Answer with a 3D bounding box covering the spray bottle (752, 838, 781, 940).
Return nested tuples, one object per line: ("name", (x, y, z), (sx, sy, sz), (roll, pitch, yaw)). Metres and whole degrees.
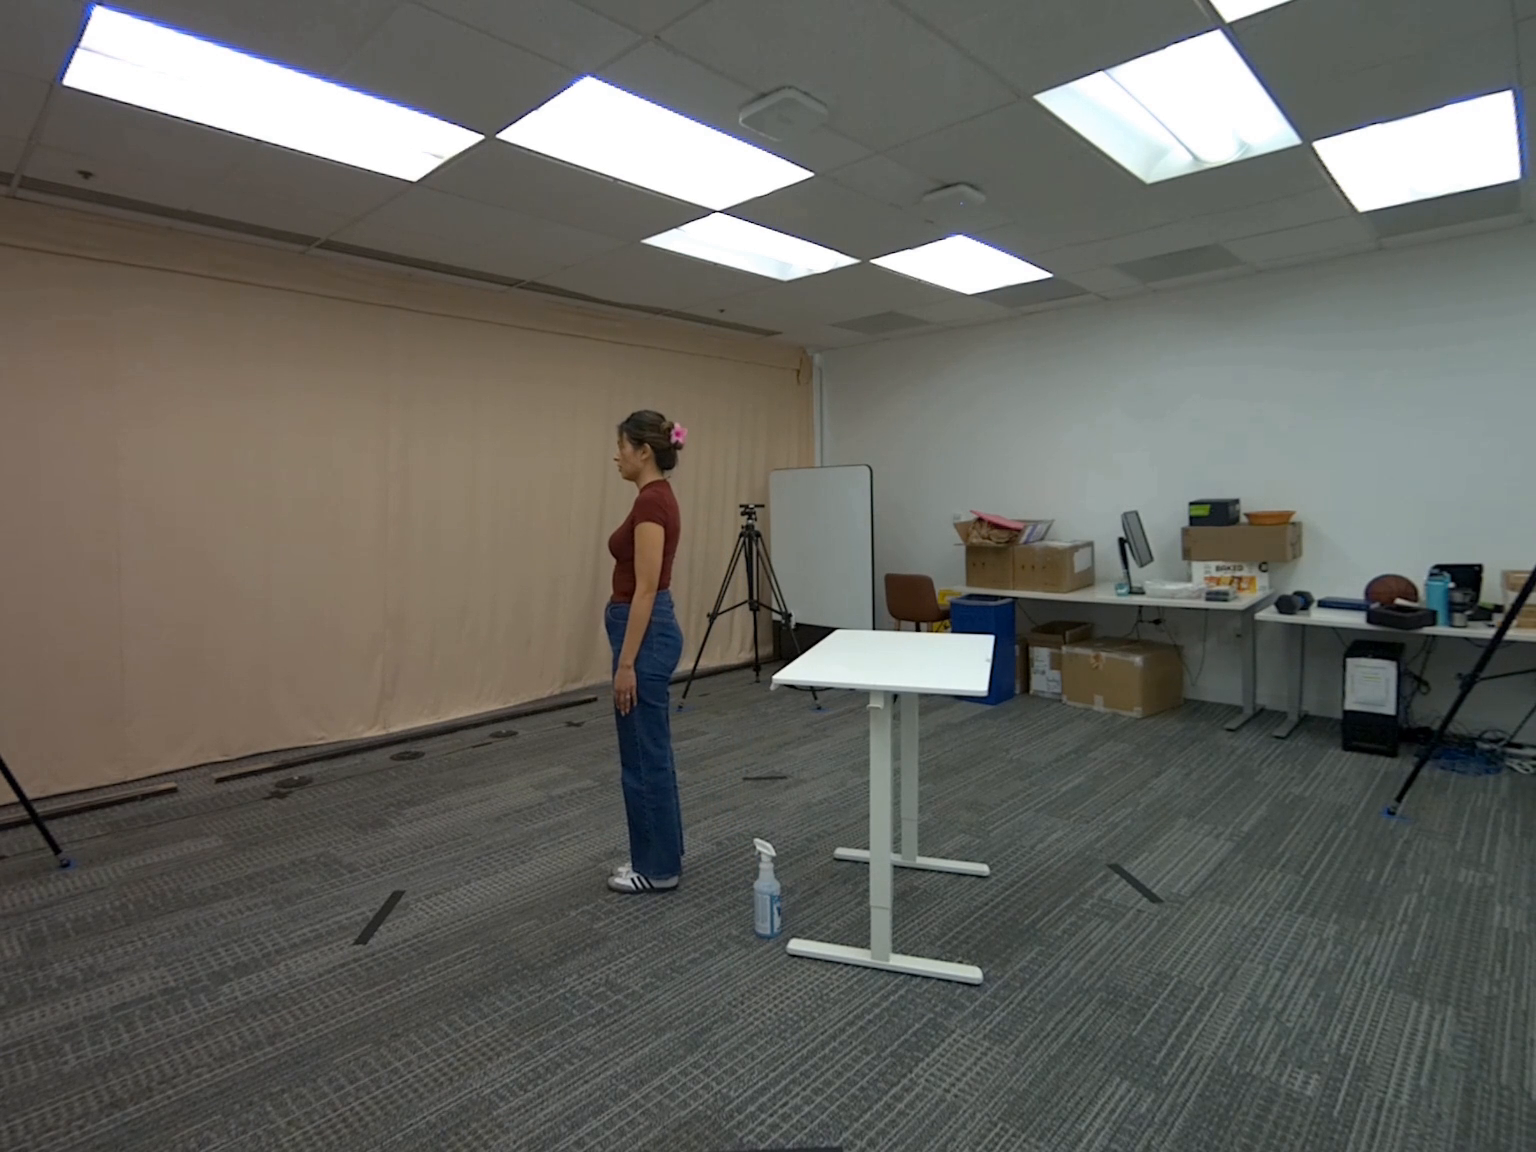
("spray bottle", (-0.001, 1.013, 2.736), (0.085, 0.297, 0.091), (-2, 2, -17))
